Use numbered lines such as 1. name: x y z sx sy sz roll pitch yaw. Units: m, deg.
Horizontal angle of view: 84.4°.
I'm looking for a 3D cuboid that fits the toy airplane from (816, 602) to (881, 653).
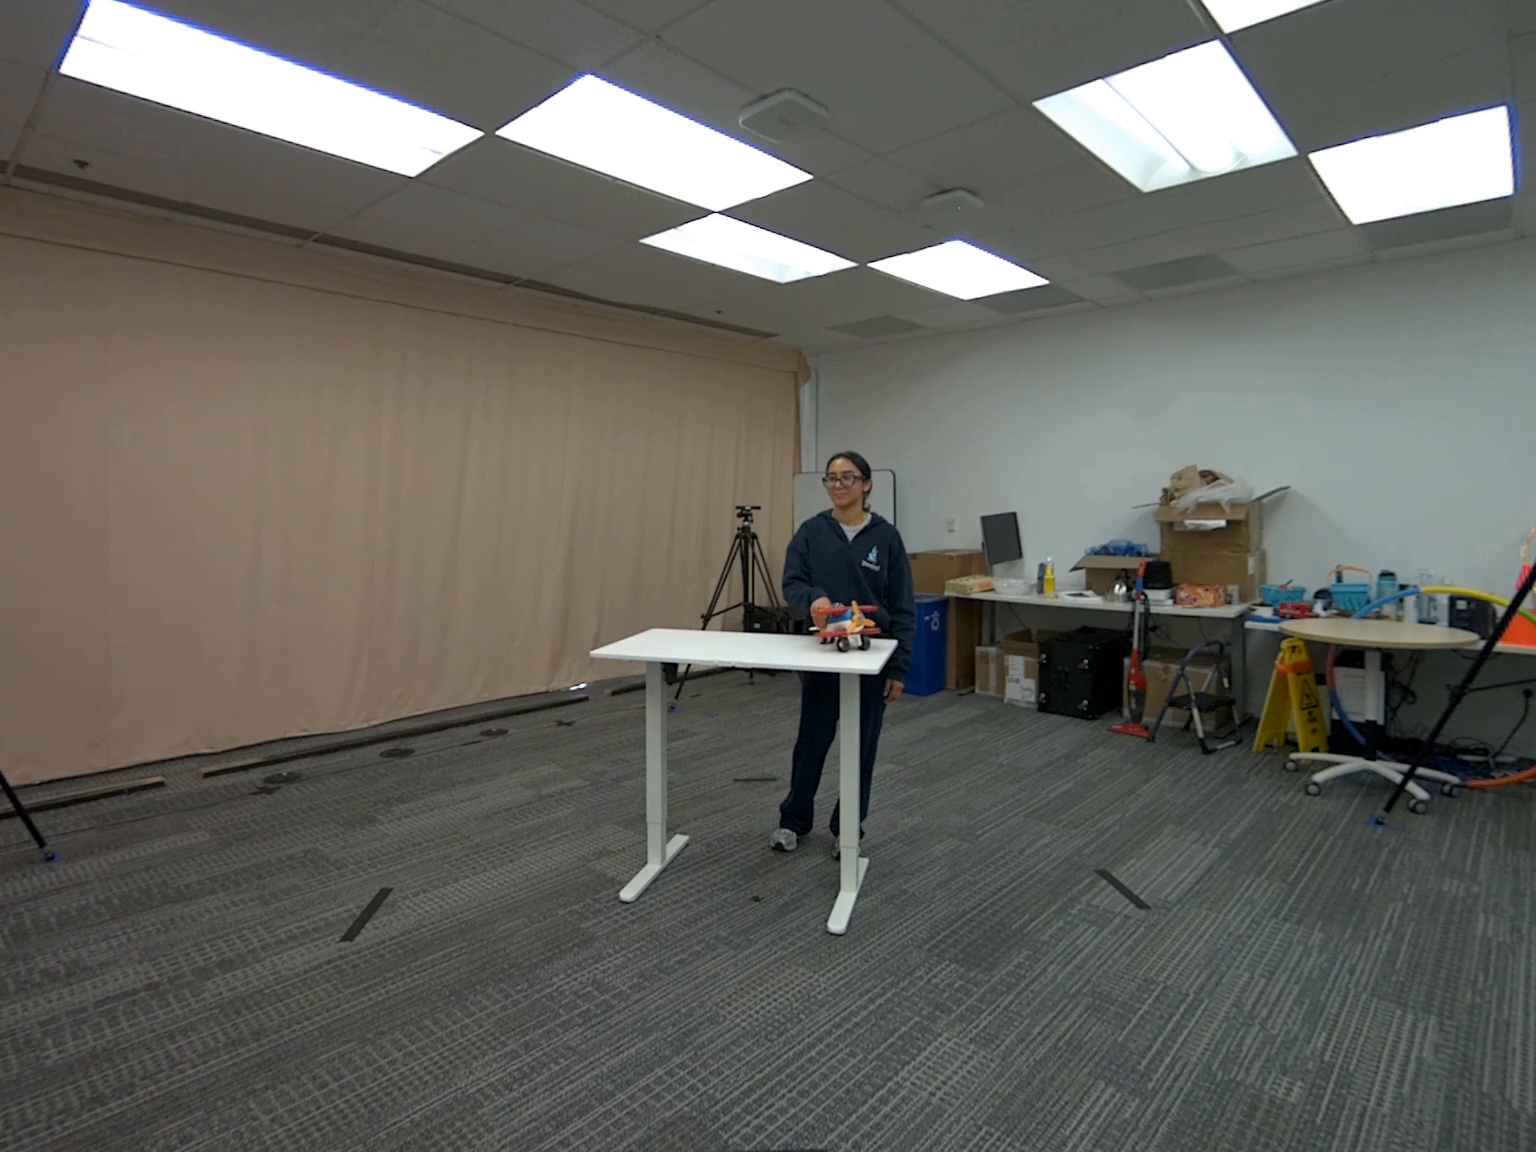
1. toy airplane: 0.259 0.177 3.025 0.268 0.156 0.243 3 4 38
